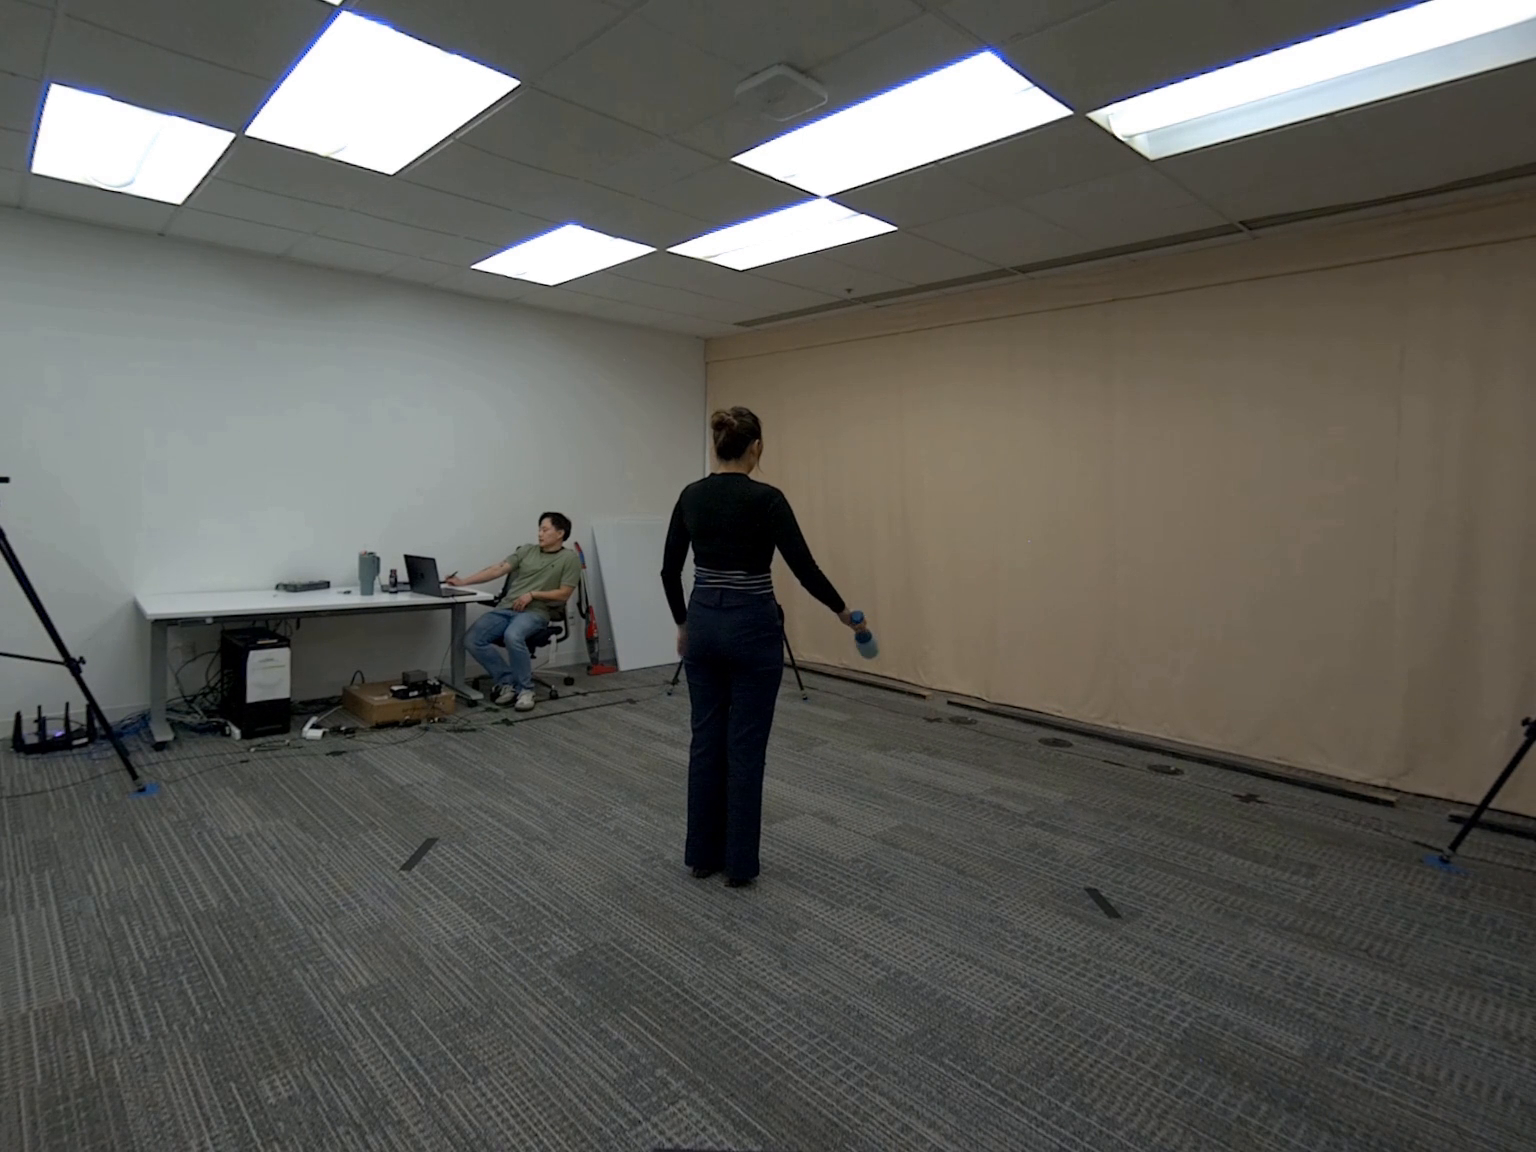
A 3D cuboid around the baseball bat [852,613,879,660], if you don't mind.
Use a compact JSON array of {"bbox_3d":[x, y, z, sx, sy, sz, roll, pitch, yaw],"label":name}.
[{"bbox_3d":[0.361,0.228,3.295,0.090,0.090,0.531,3,-18,12],"label":"baseball bat"}]
